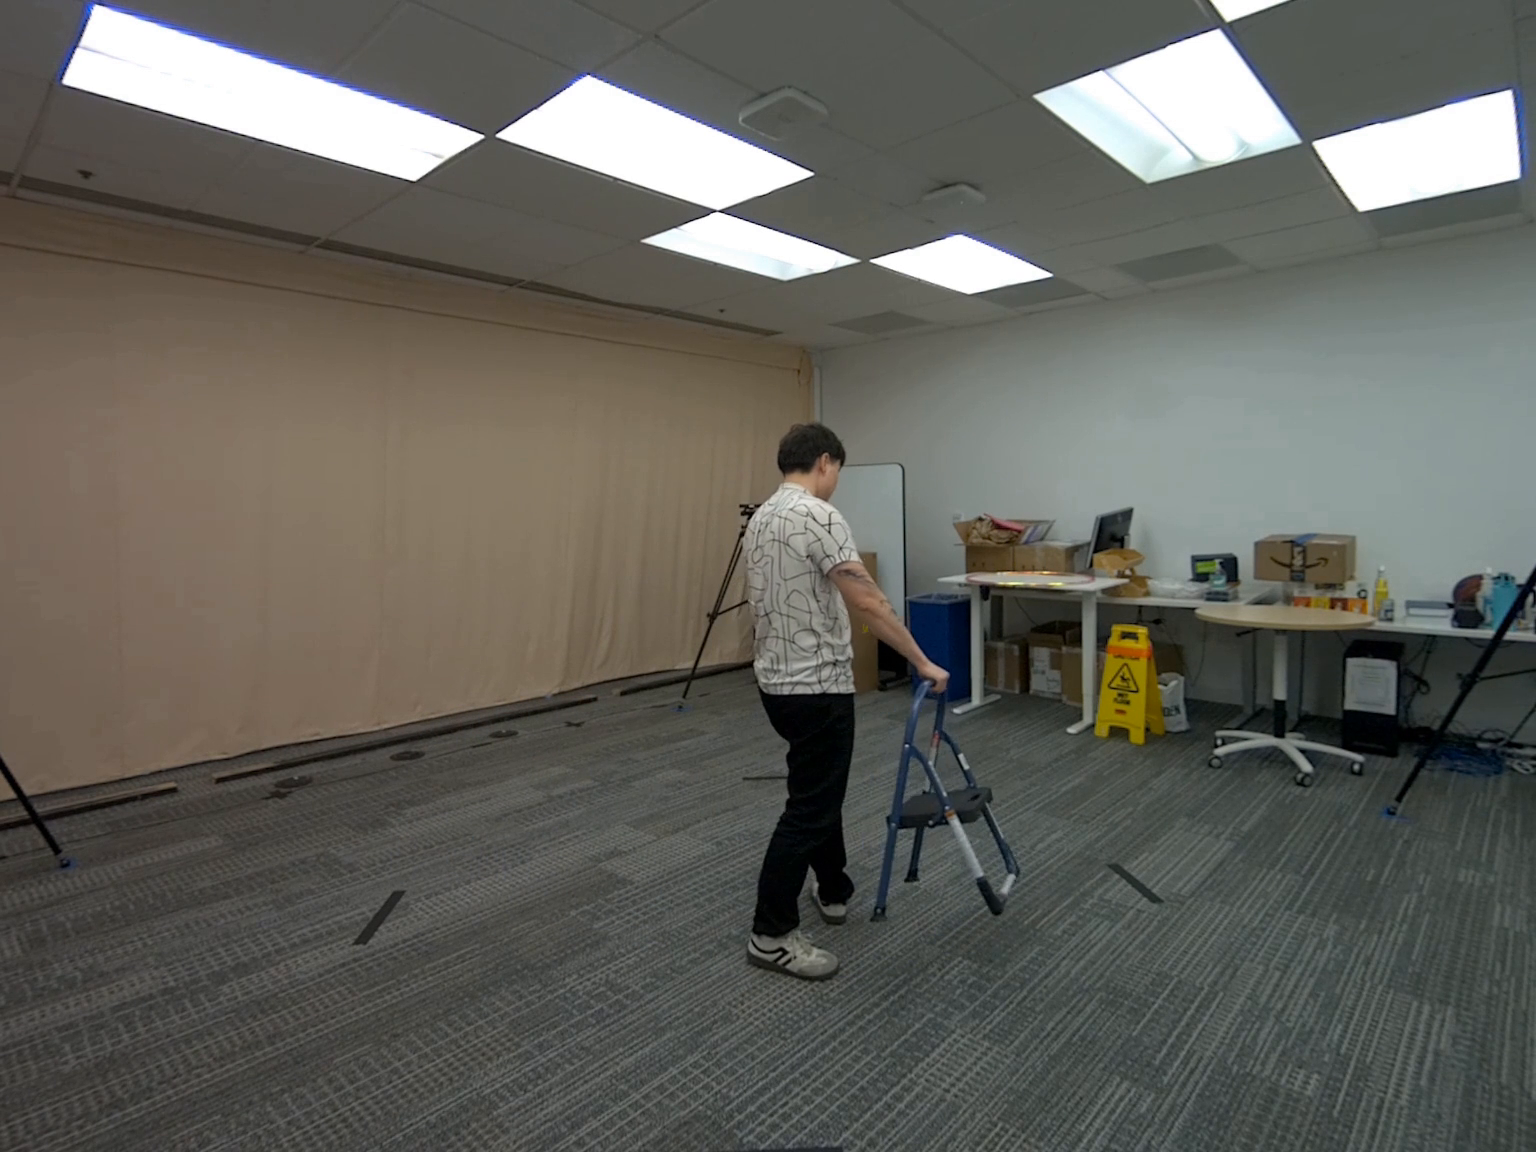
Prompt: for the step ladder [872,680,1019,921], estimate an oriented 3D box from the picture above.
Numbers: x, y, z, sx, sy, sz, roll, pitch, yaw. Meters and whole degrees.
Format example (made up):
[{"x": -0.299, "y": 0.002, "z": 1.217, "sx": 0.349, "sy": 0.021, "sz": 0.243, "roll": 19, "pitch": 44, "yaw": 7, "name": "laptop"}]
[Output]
[{"x": 0.468, "y": 0.615, "z": 2.430, "sx": 0.356, "sy": 0.611, "sz": 0.419, "roll": -14, "pitch": -10, "yaw": 22, "name": "step ladder"}]
